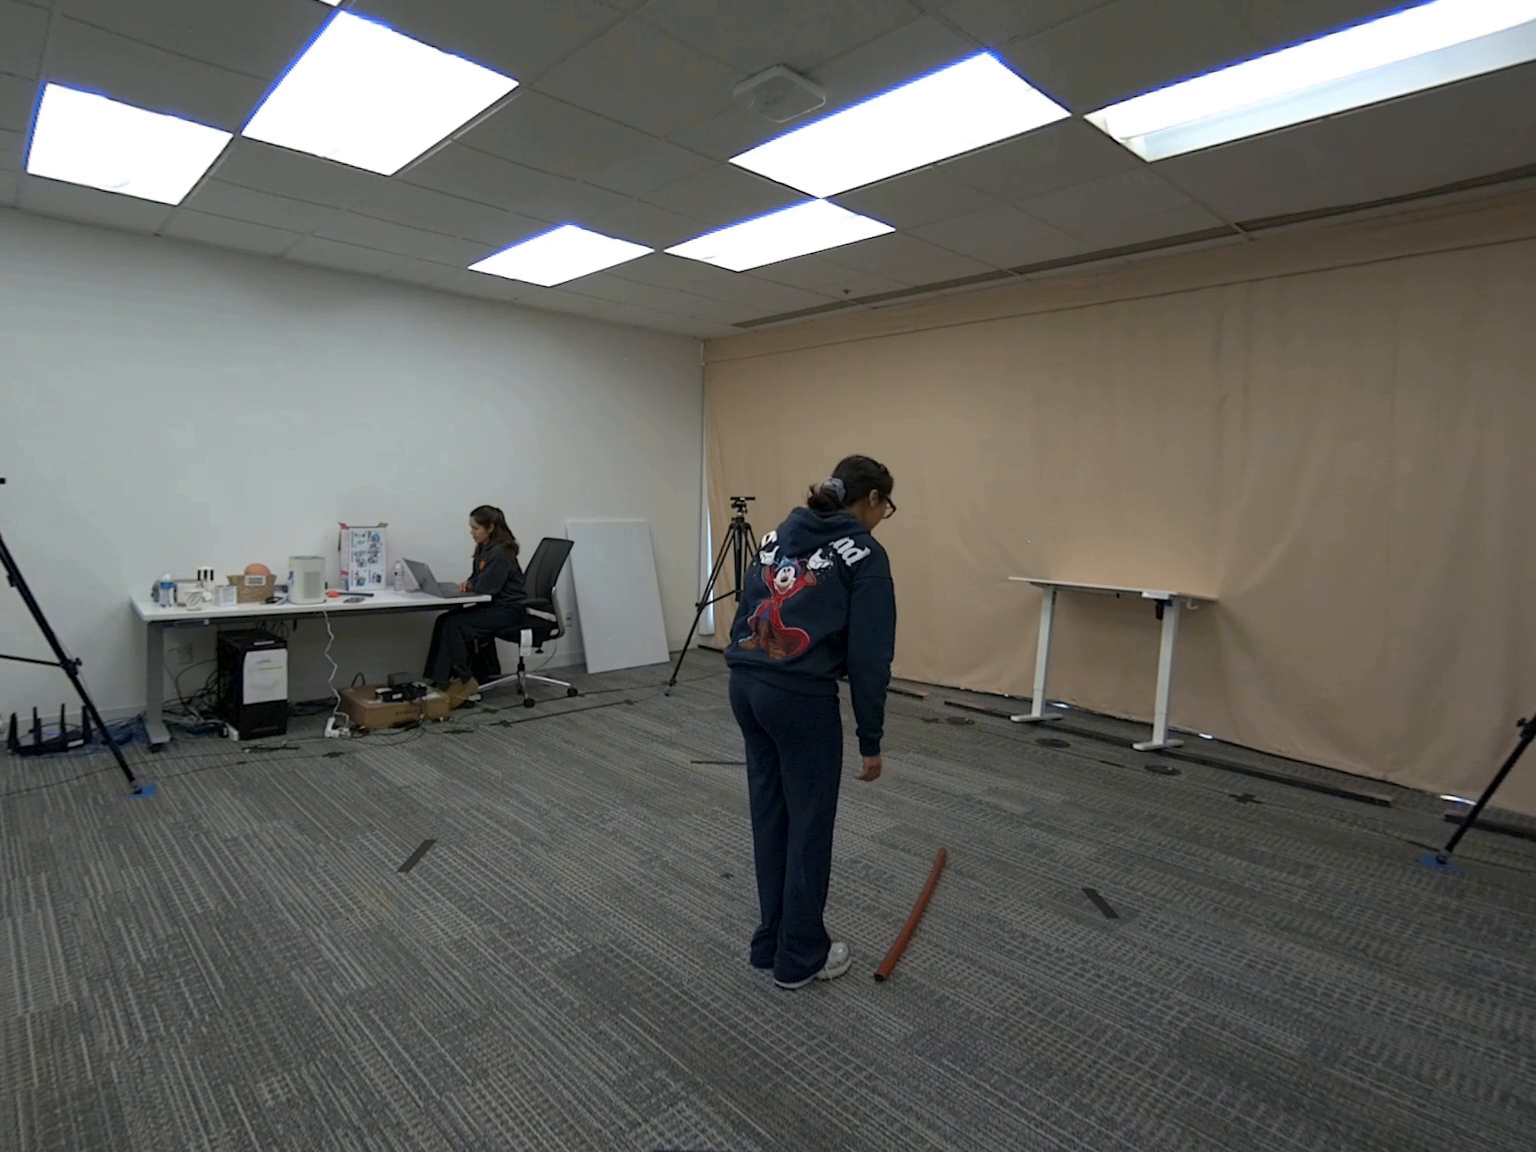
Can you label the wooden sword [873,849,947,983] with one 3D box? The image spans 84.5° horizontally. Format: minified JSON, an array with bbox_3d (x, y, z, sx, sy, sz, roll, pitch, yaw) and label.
[{"bbox_3d":[0.505,1.121,2.897,0.052,0.024,1.010,-2,3,21],"label":"wooden sword"}]
